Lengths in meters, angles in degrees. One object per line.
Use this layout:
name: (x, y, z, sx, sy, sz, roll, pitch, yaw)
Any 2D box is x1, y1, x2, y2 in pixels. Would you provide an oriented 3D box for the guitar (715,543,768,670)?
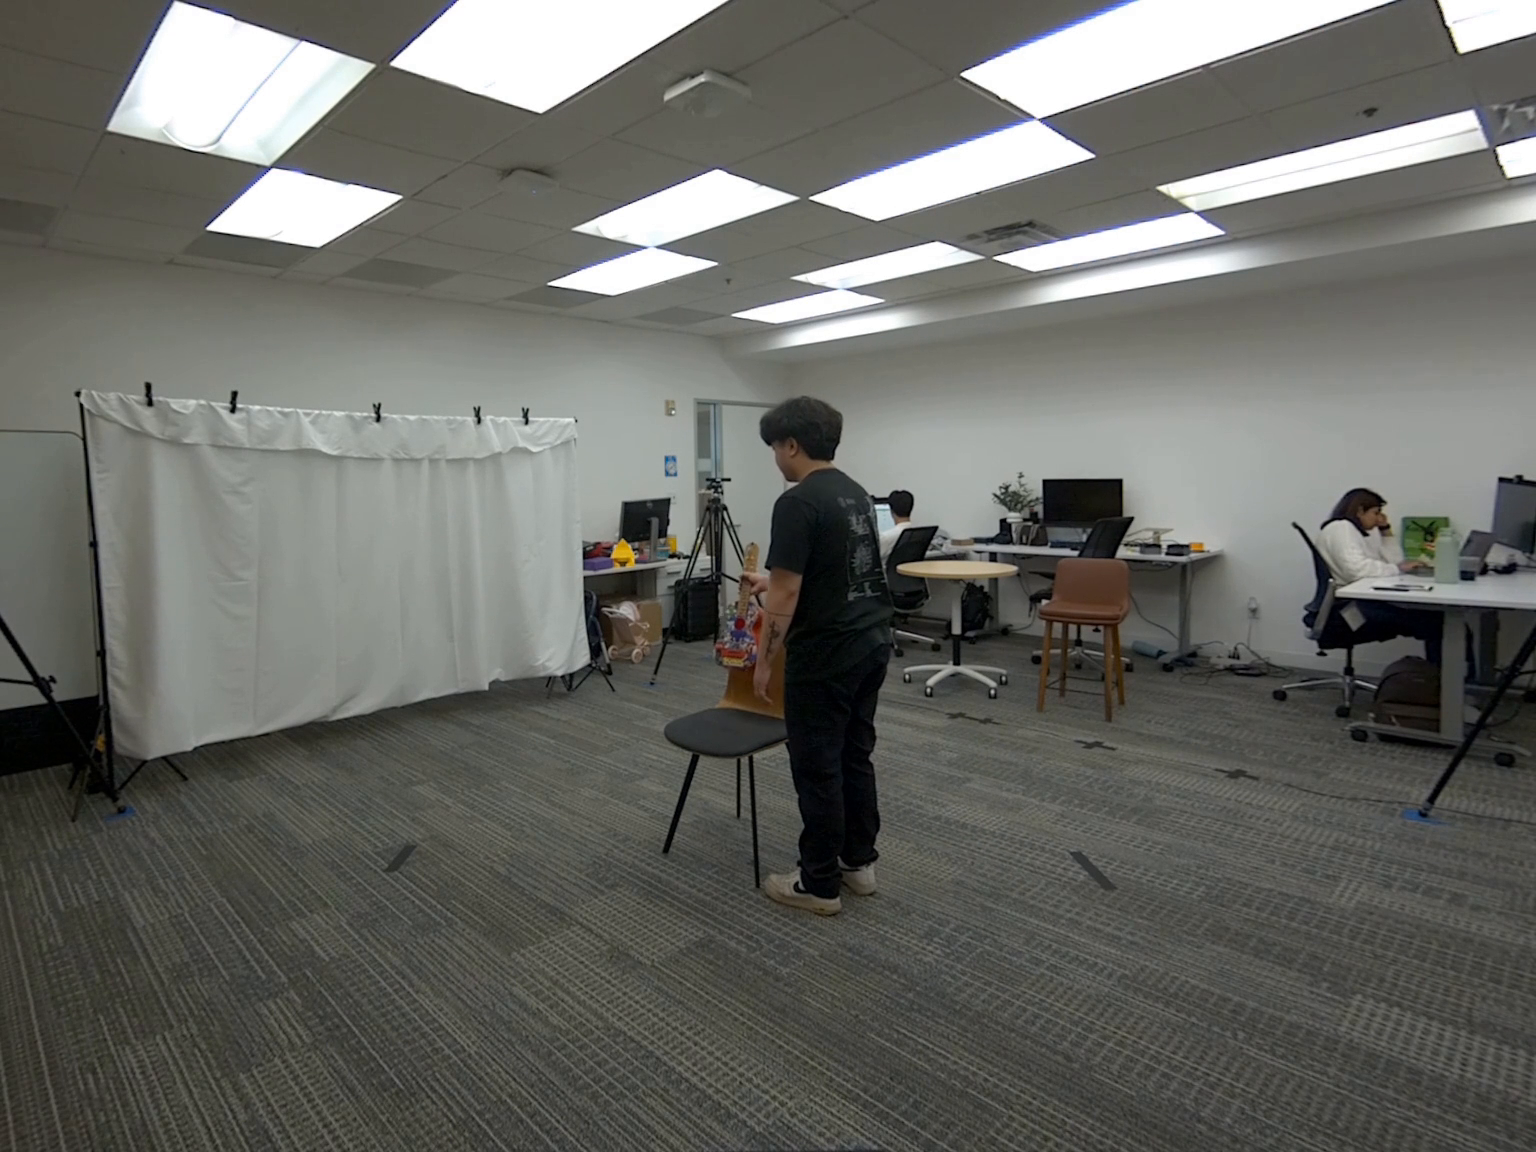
guitar: (-0.062, 0.130, 3.281, 0.199, 0.501, 0.068, 9, -14, 32)
